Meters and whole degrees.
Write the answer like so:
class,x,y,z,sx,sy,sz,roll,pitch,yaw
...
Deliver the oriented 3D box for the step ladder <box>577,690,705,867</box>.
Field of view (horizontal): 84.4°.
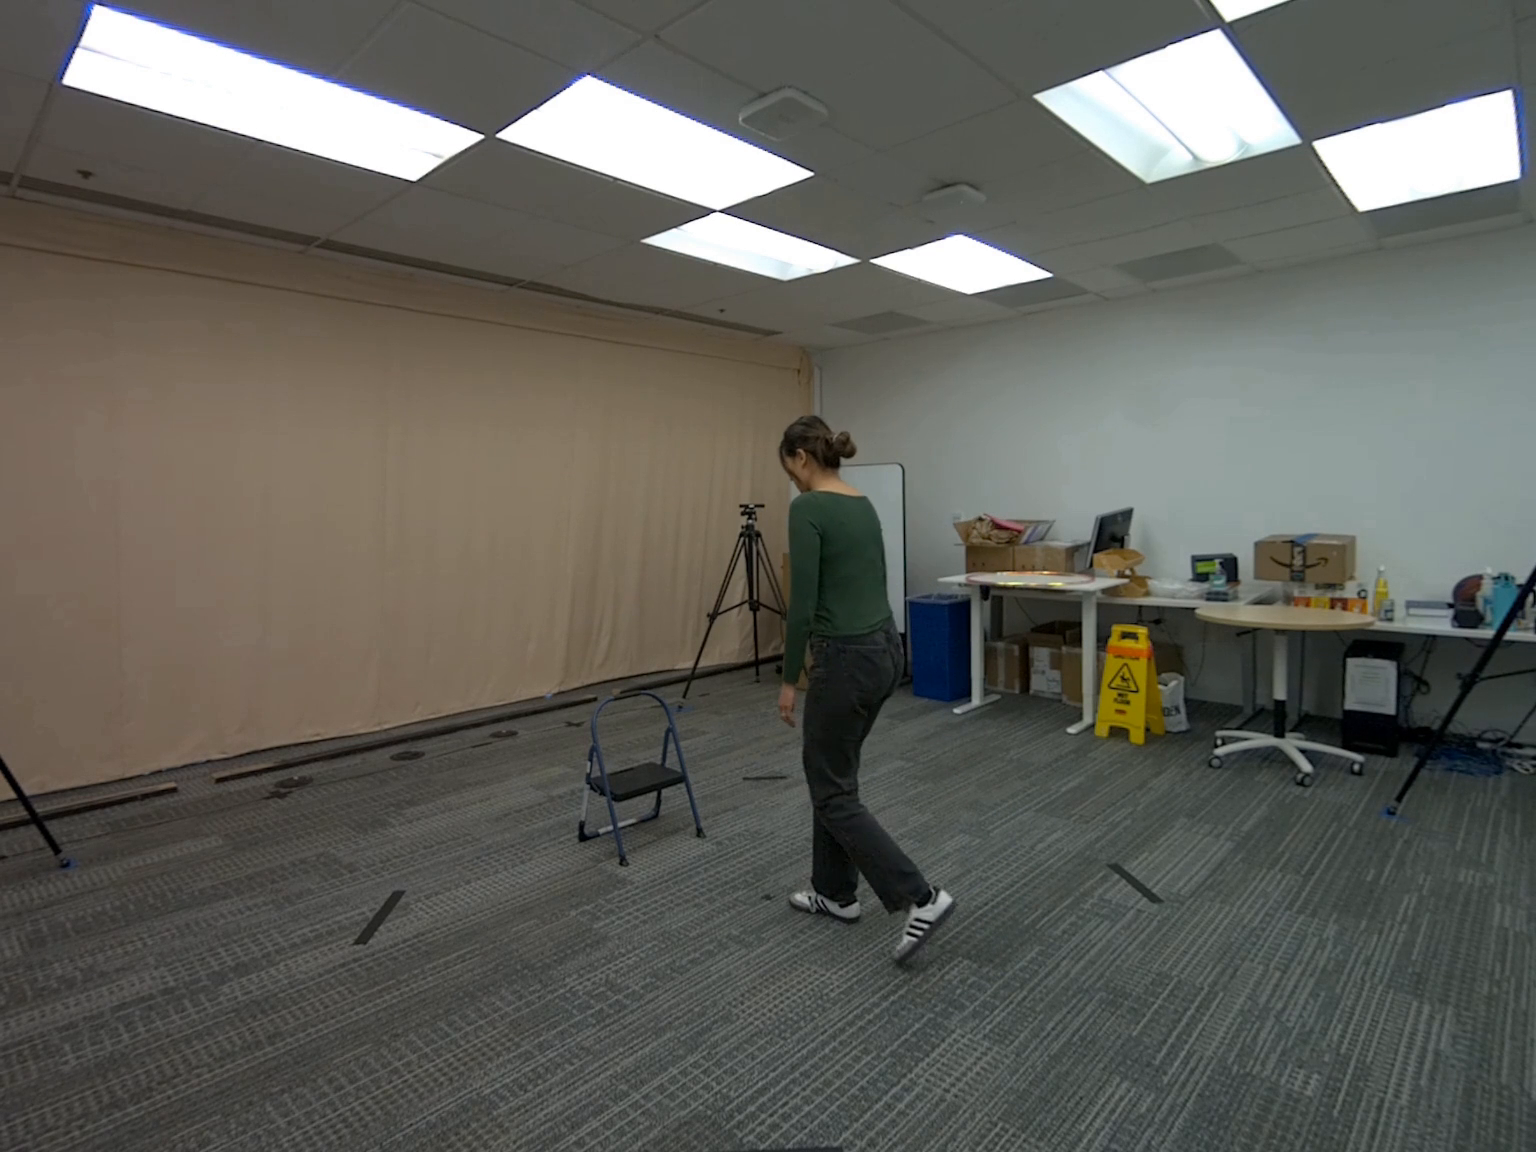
class,x,y,z,sx,sy,sz,roll,pitch,yaw
step ladder,-0.535,0.802,3.522,0.417,0.605,0.361,-4,4,-43
